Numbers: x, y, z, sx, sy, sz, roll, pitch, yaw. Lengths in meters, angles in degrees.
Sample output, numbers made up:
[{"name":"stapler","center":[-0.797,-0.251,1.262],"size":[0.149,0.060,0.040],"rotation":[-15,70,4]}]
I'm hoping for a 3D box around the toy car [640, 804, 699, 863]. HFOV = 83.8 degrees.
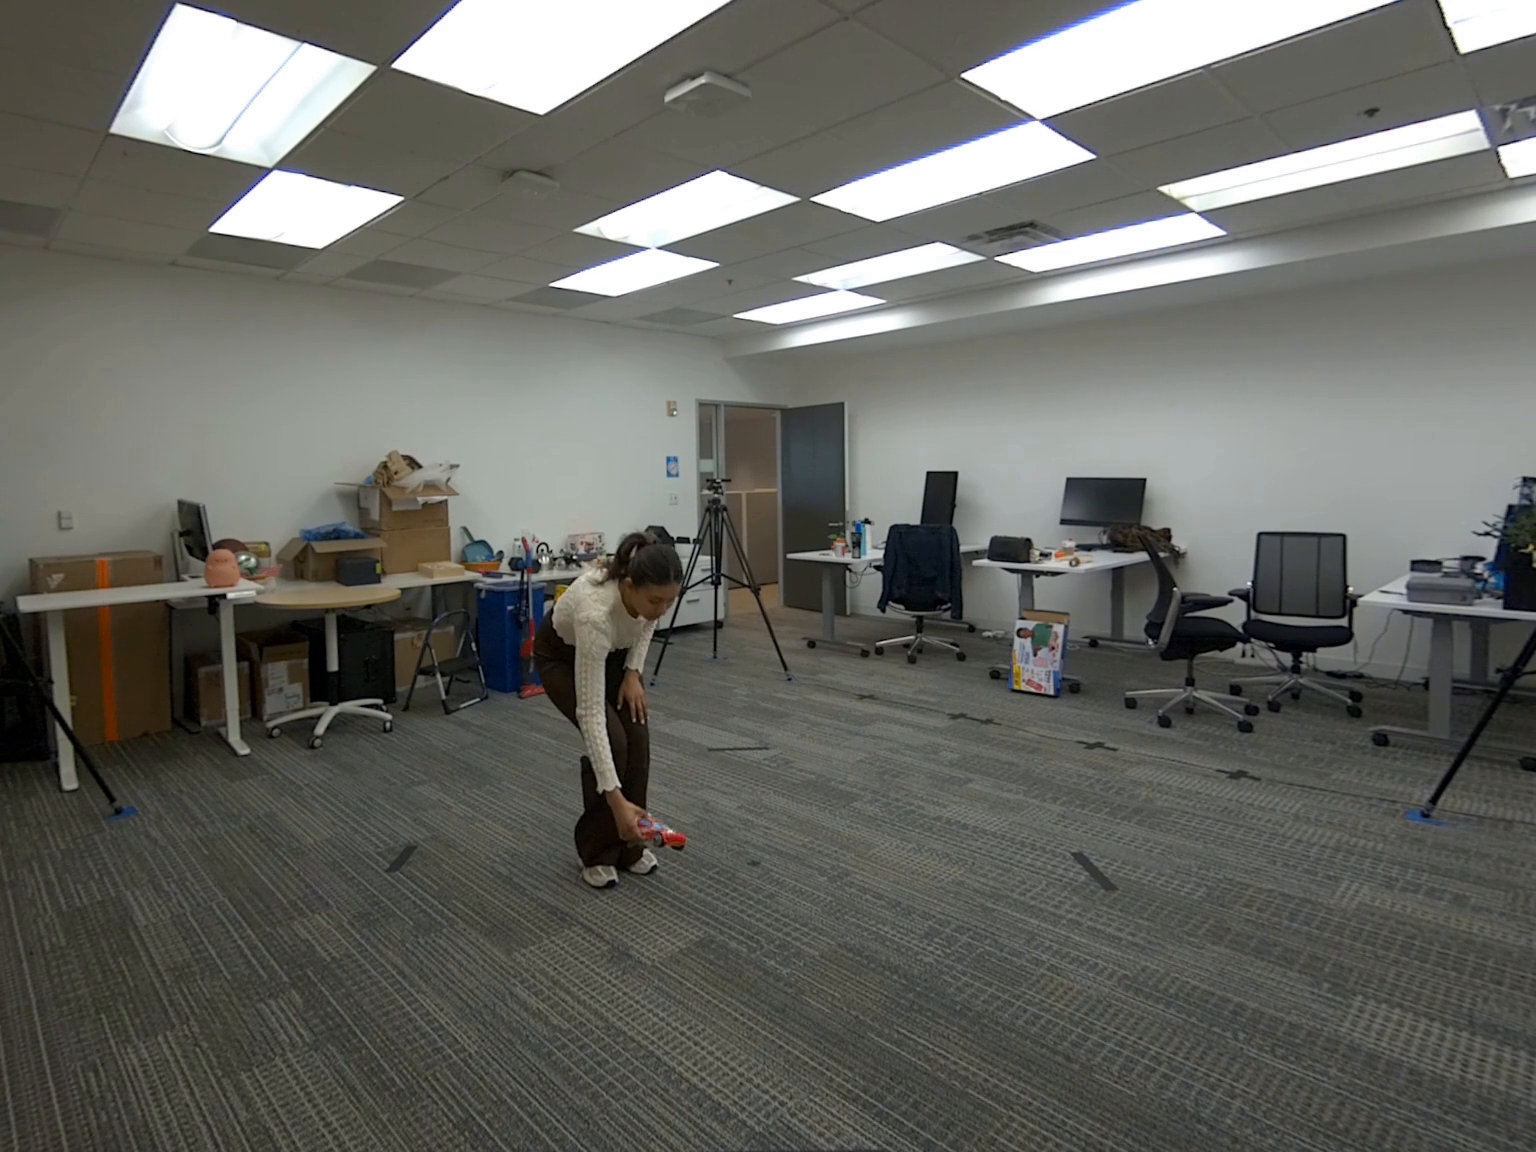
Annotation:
[{"name":"toy car","center":[-0.364,0.803,2.708],"size":[0.263,0.083,0.125],"rotation":[15,-9,43]}]
